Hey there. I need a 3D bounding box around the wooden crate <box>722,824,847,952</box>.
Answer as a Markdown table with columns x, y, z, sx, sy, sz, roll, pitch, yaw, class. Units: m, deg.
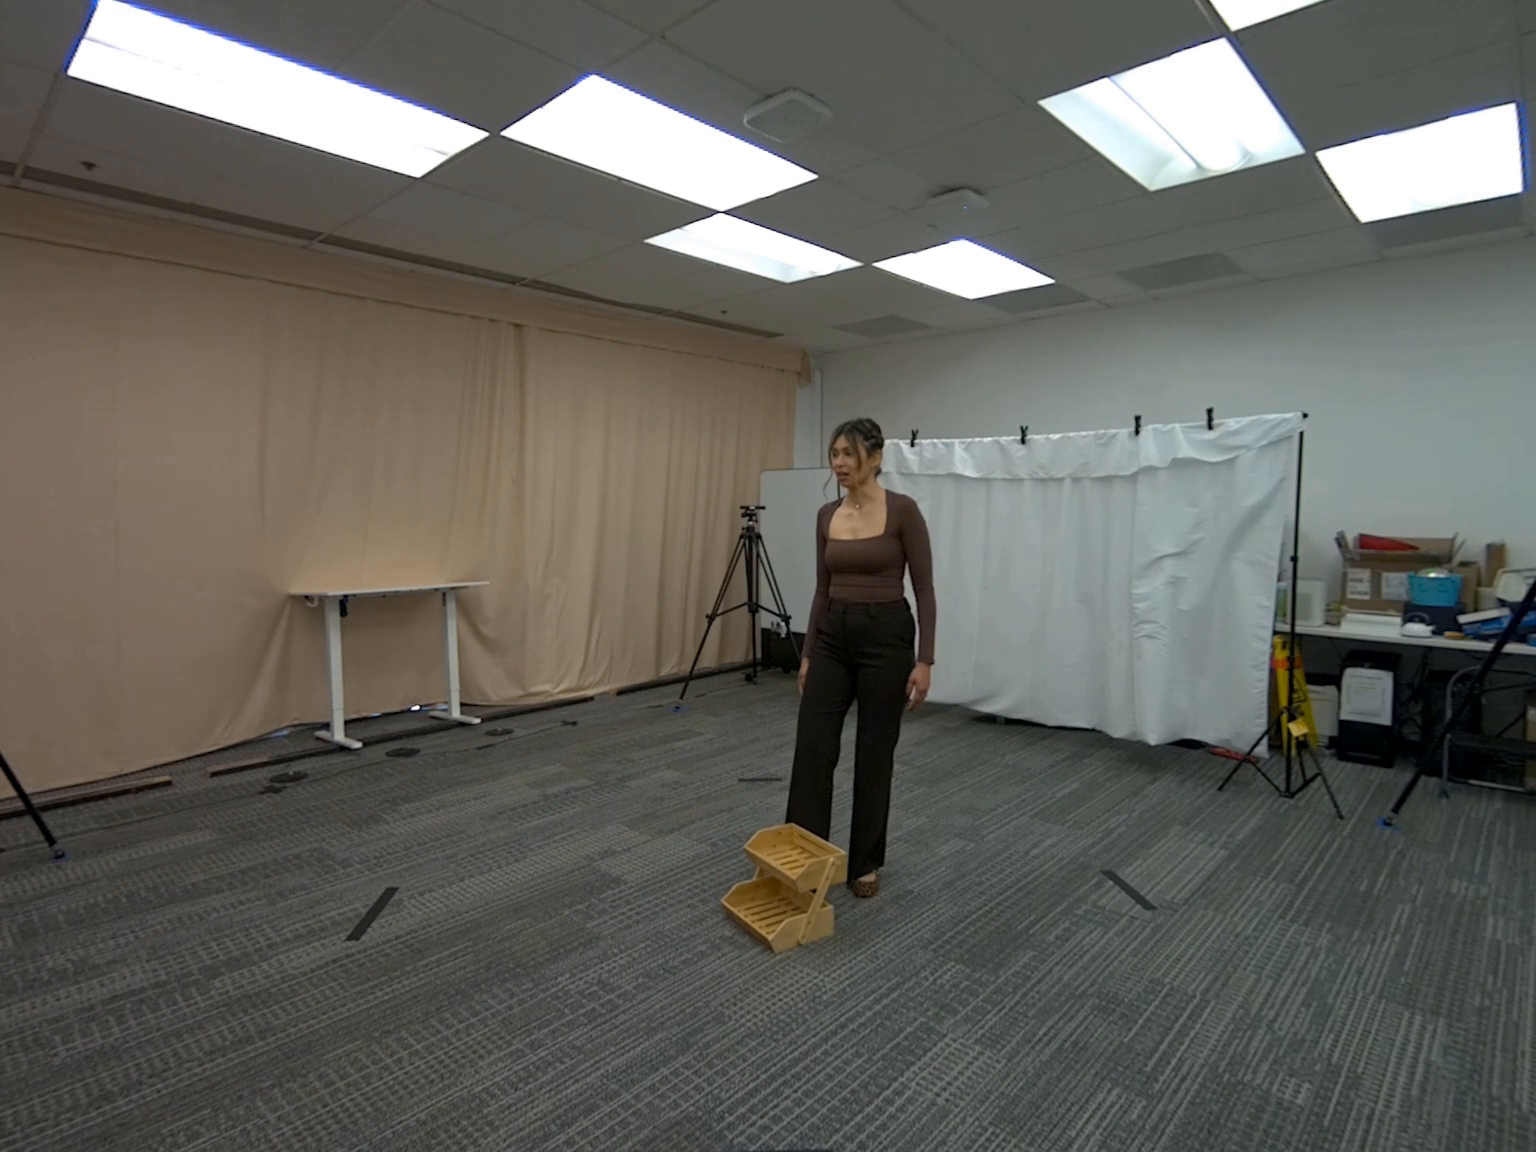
| x | y | z | sx | sy | sz | roll | pitch | yaw | class |
| --- | --- | --- | --- | --- | --- | --- | --- | --- | --- |
| 0.046 | 1.027 | 2.804 | 0.293 | 0.273 | 0.334 | -2 | 5 | -33 | wooden crate |
